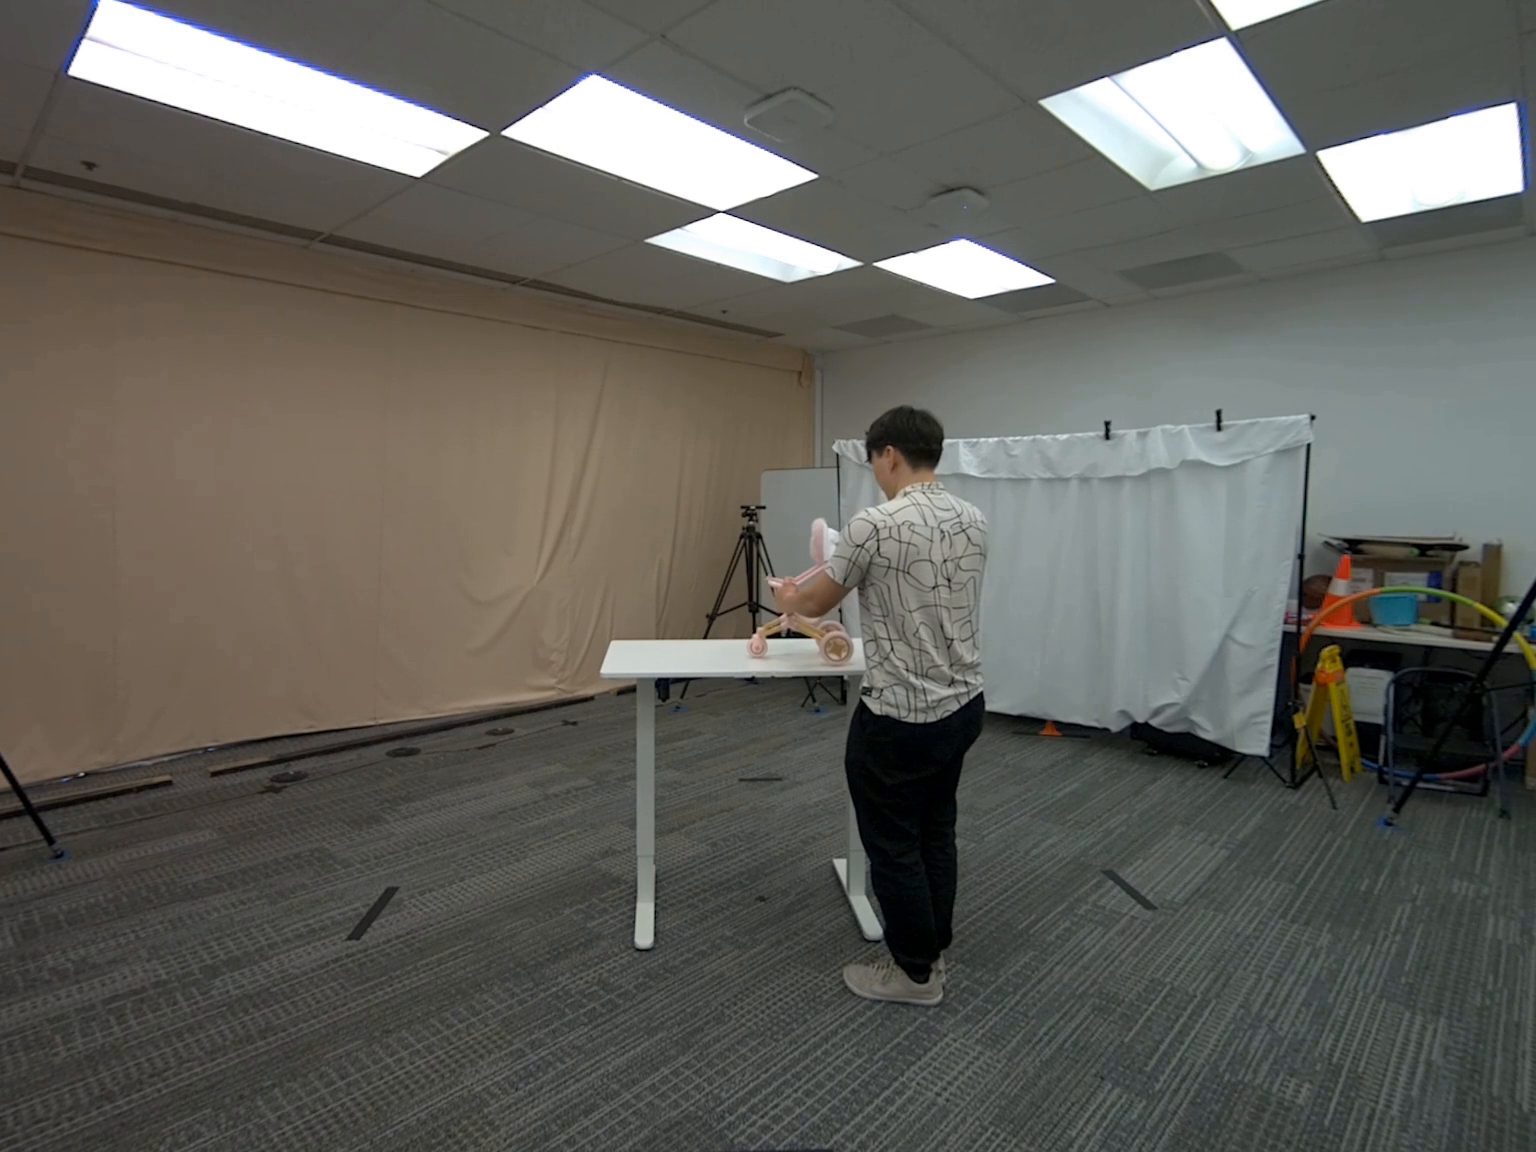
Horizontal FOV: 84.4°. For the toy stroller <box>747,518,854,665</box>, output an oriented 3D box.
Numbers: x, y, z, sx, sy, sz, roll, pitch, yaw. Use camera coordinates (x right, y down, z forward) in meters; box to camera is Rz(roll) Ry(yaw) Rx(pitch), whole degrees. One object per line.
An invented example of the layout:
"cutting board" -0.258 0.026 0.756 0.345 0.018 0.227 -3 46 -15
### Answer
"toy stroller" 0.155 0.051 2.804 0.344 0.534 0.279 14 4 7
